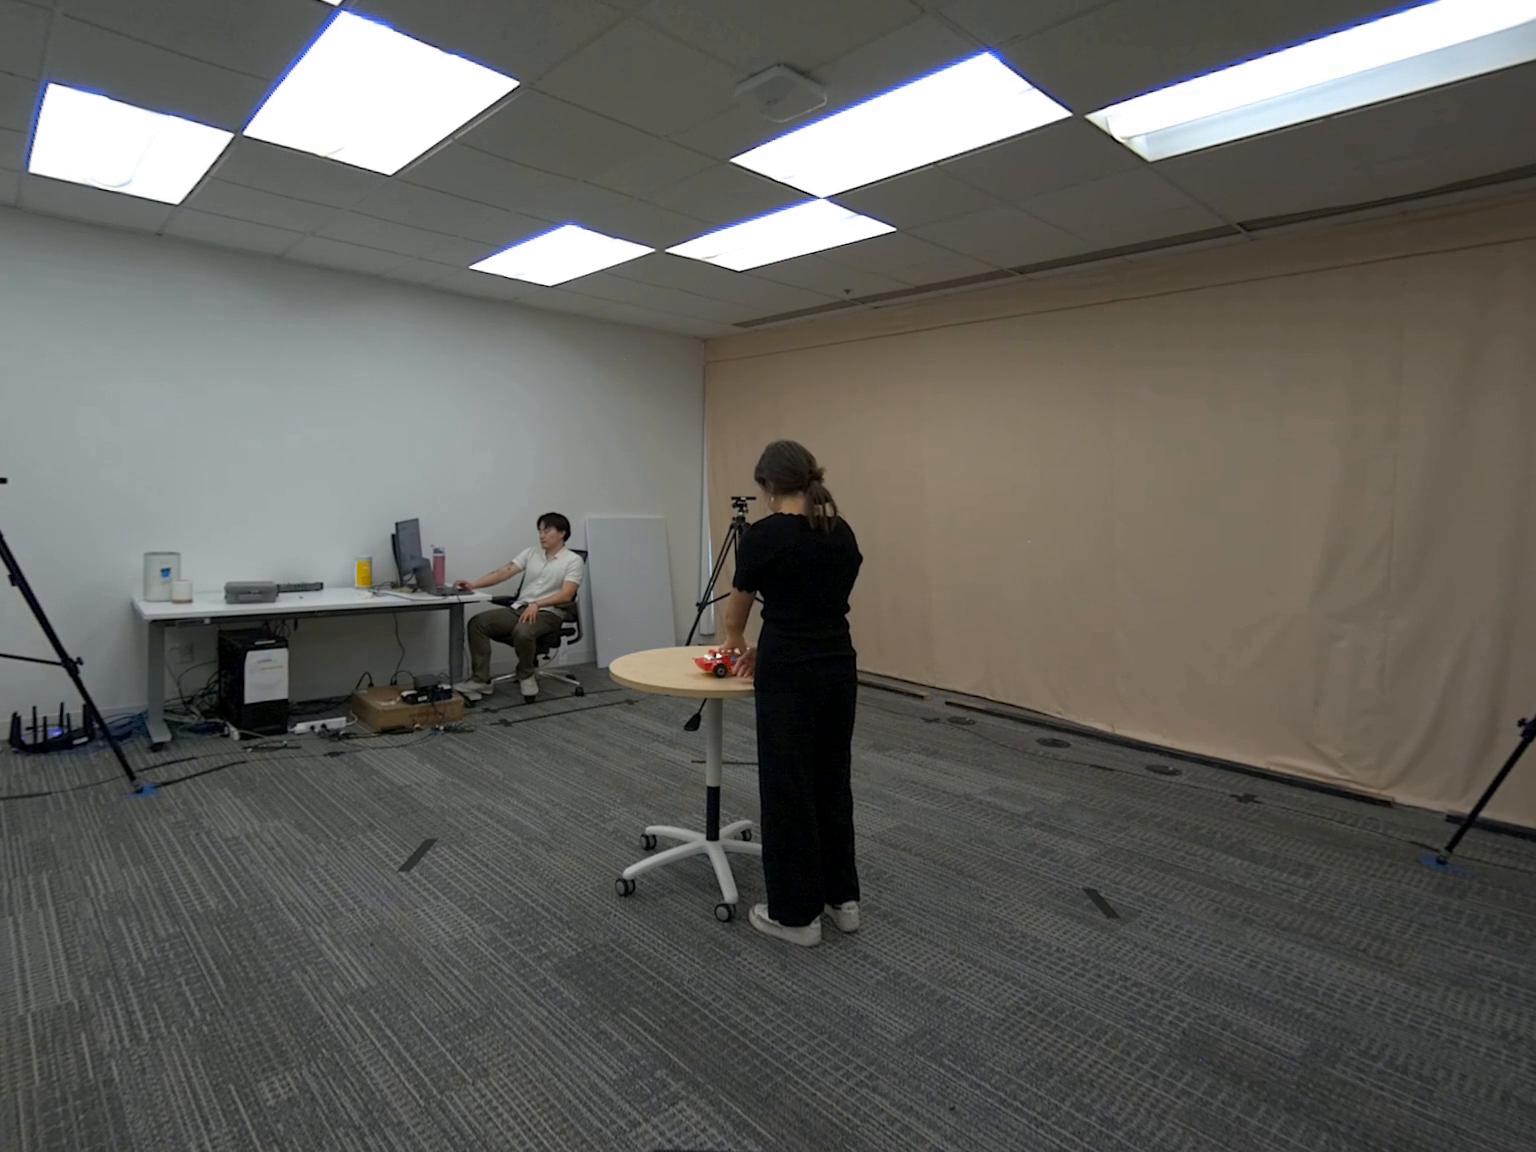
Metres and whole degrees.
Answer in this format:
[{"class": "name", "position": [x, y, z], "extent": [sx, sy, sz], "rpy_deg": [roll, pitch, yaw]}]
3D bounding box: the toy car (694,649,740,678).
[{"class": "toy car", "position": [-0.148, 0.308, 2.908], "extent": [0.250, 0.083, 0.133], "rpy_deg": [11, 0, -21]}]
